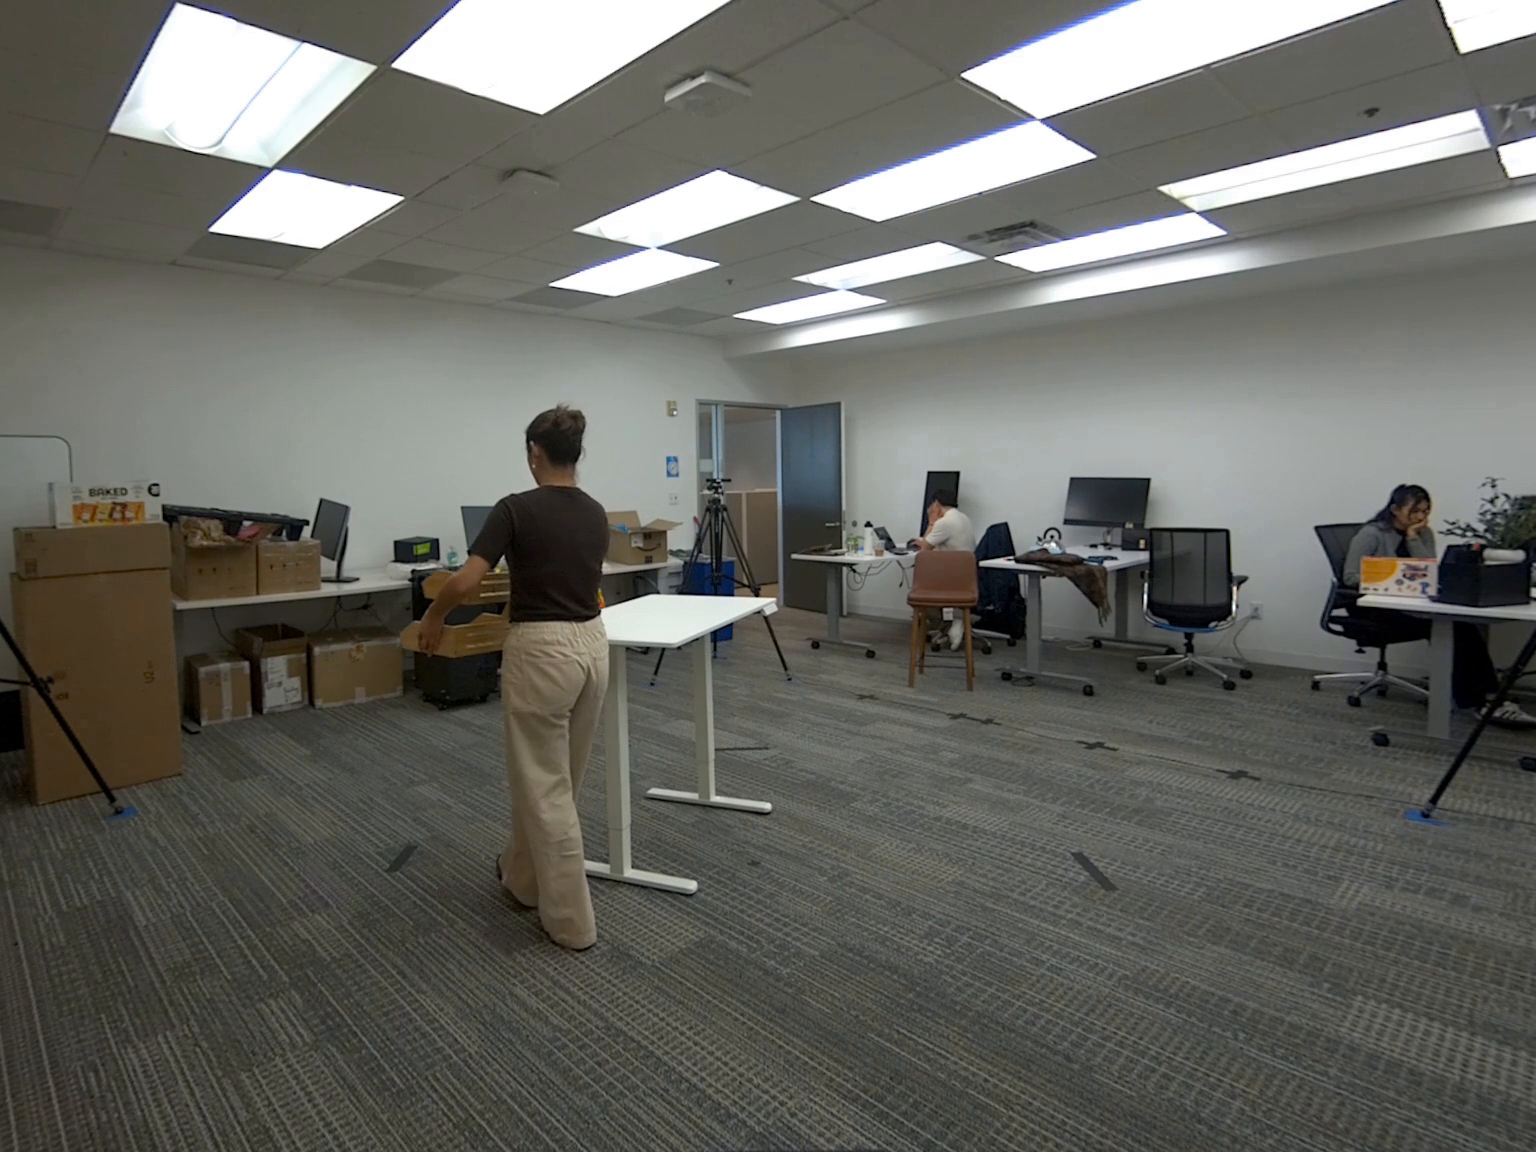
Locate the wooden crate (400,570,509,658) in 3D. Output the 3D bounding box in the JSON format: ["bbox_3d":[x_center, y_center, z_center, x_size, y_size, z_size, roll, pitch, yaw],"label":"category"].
[{"bbox_3d":[-0.963,0.101,2.767,0.310,0.273,0.316,5,4,29],"label":"wooden crate"}]
